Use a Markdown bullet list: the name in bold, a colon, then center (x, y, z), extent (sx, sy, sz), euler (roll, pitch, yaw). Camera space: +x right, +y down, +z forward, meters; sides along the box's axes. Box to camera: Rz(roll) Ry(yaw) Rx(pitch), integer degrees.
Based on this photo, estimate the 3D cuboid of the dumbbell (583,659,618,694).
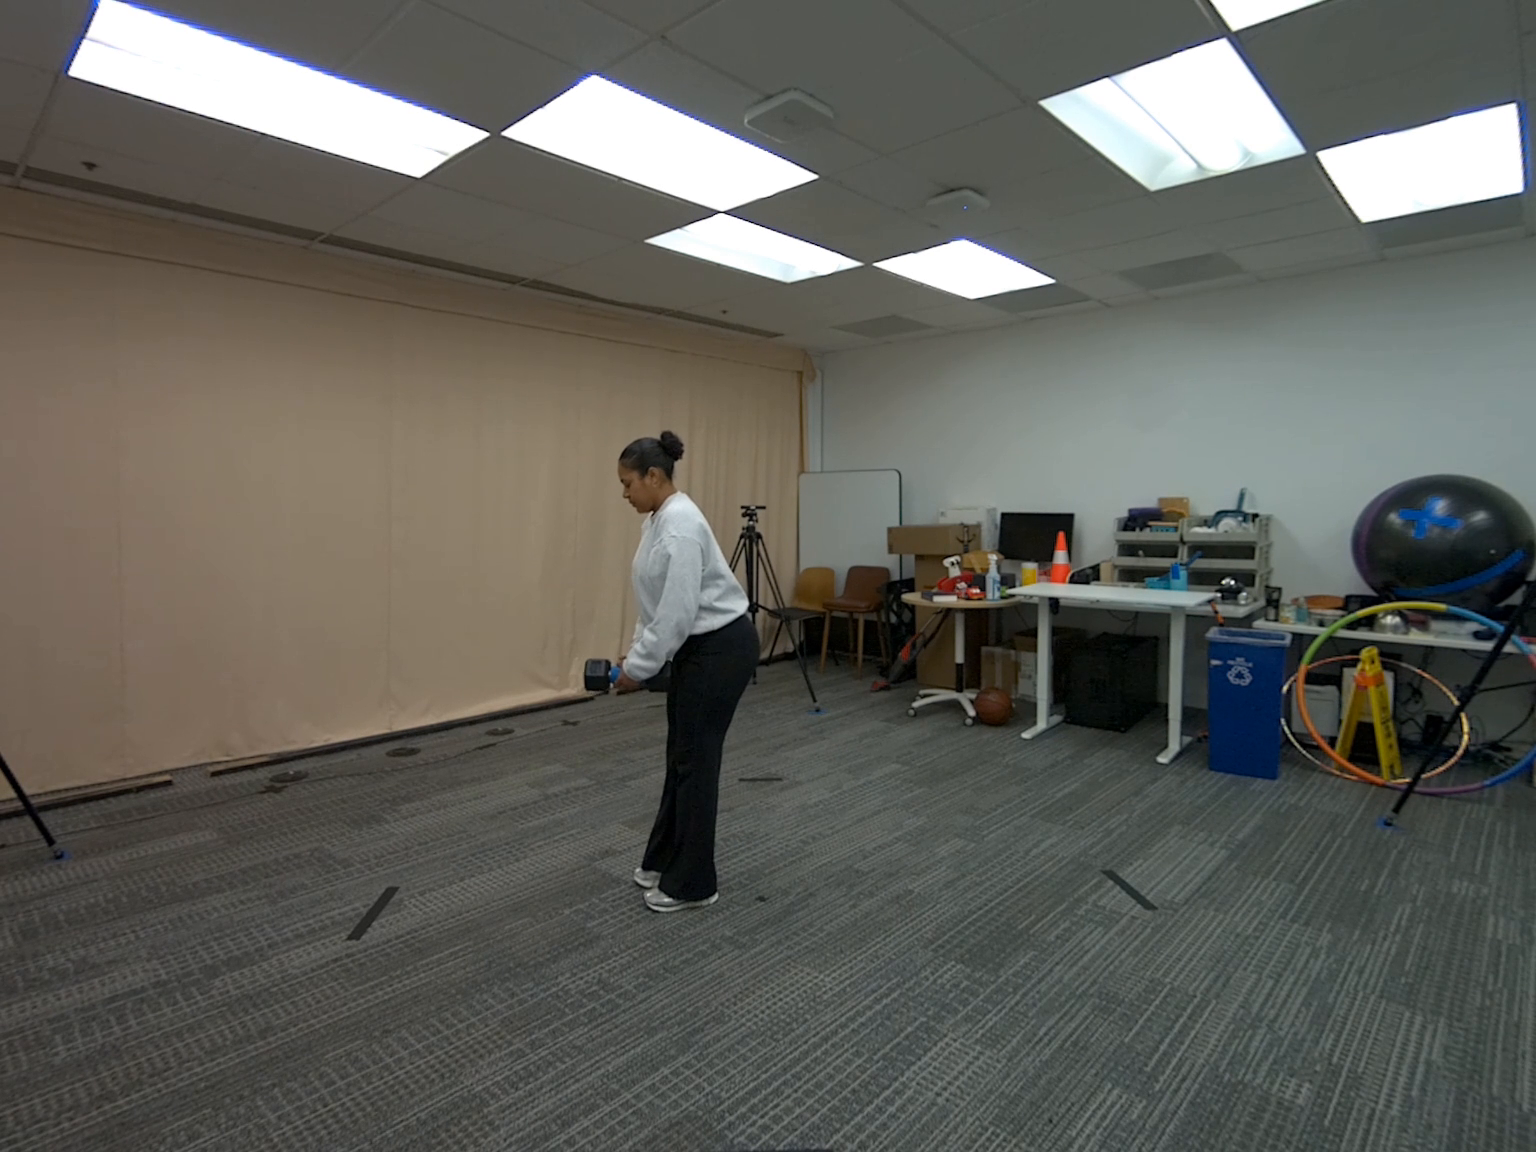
- **dumbbell**: center (-0.461, 0.340, 2.858), extent (0.293, 0.121, 0.110), euler (1, 24, -1)
